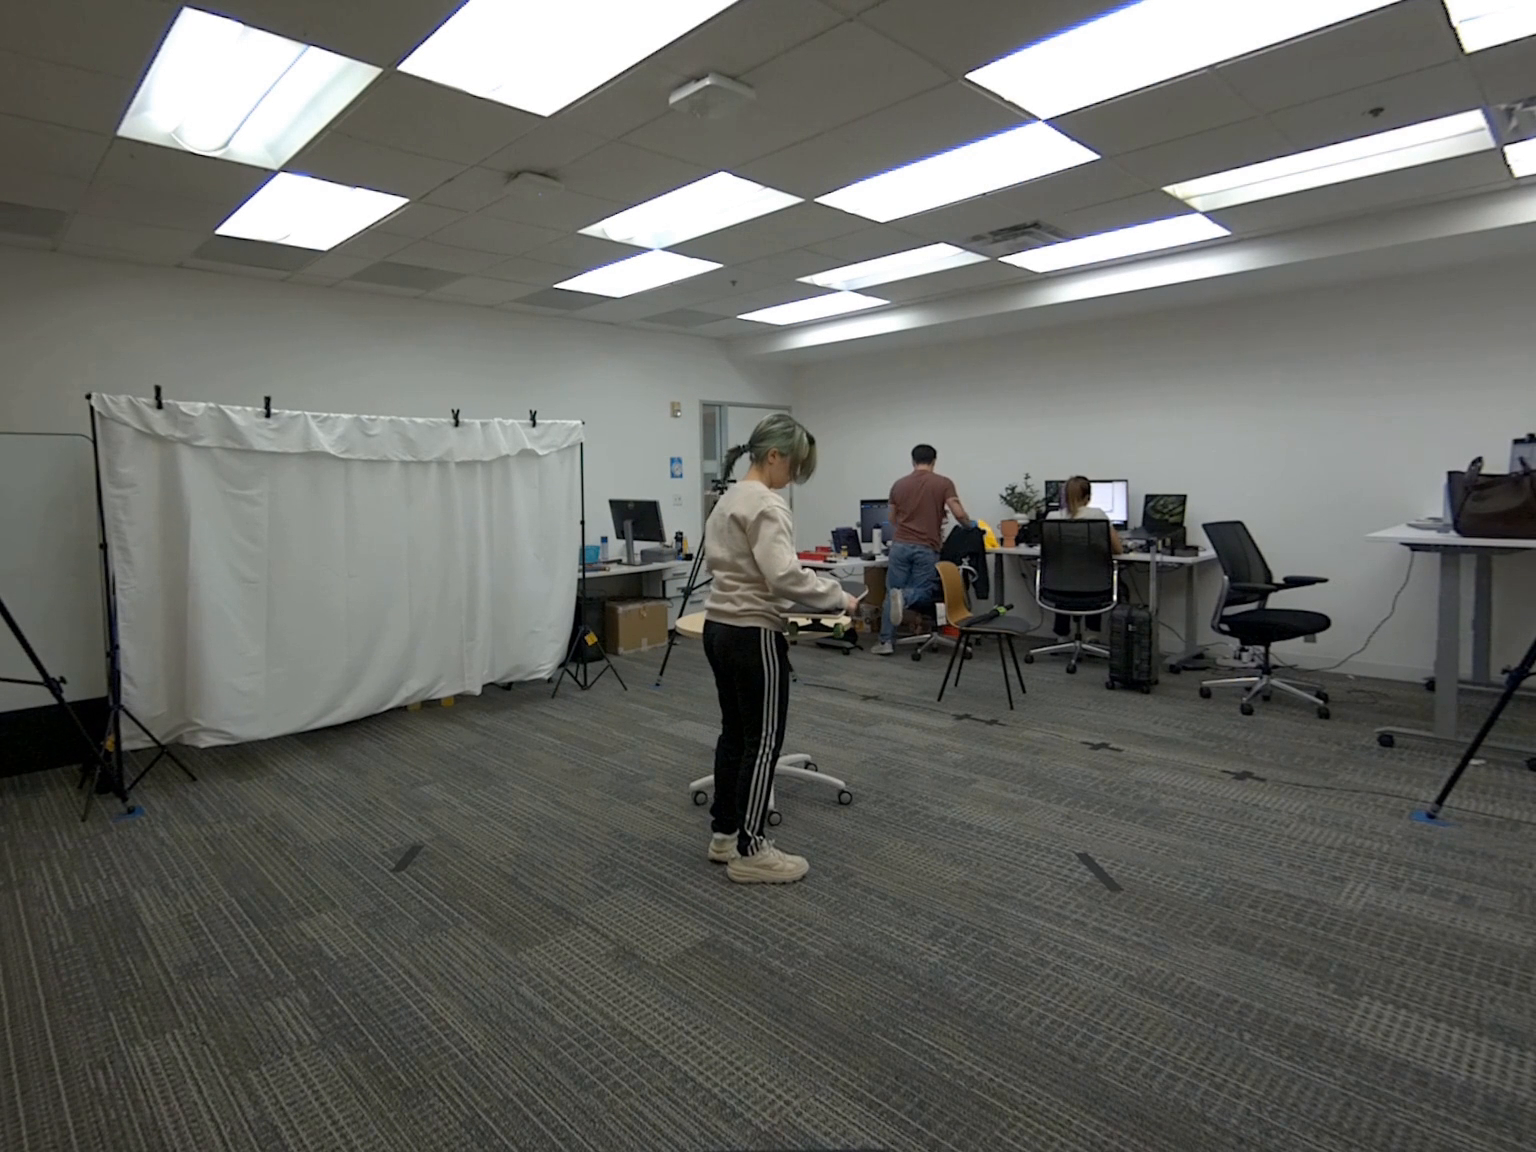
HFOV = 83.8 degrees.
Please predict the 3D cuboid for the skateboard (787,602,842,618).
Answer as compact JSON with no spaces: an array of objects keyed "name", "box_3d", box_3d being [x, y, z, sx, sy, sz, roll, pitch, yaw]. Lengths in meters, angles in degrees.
[{"name":"skateboard","box_3d":[0.234,0.123,3.027,0.195,0.110,0.782,-3,6,8]}]
